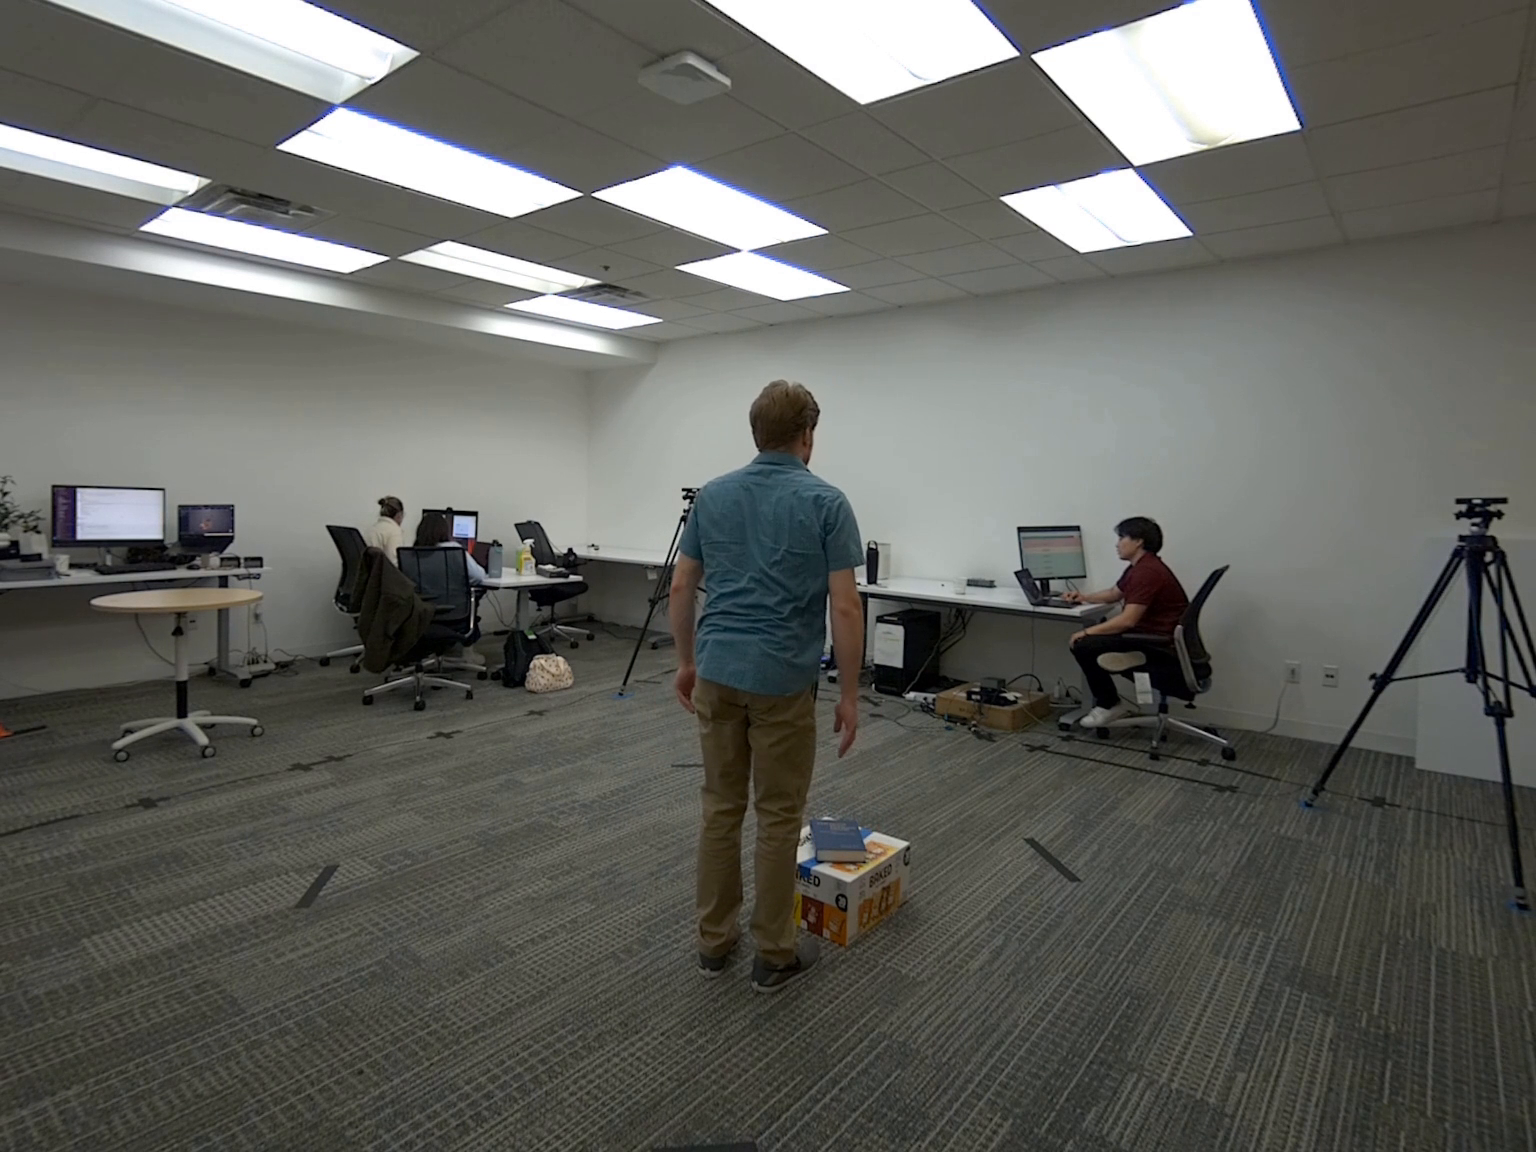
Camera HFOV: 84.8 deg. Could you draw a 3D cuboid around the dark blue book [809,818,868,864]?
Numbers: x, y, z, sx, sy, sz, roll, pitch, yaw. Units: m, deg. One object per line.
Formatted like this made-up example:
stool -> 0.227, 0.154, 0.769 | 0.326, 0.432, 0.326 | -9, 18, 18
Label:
dark blue book -> 0.234, 0.889, 2.861 | 0.163, 0.045, 0.246 | 1, 7, -1
